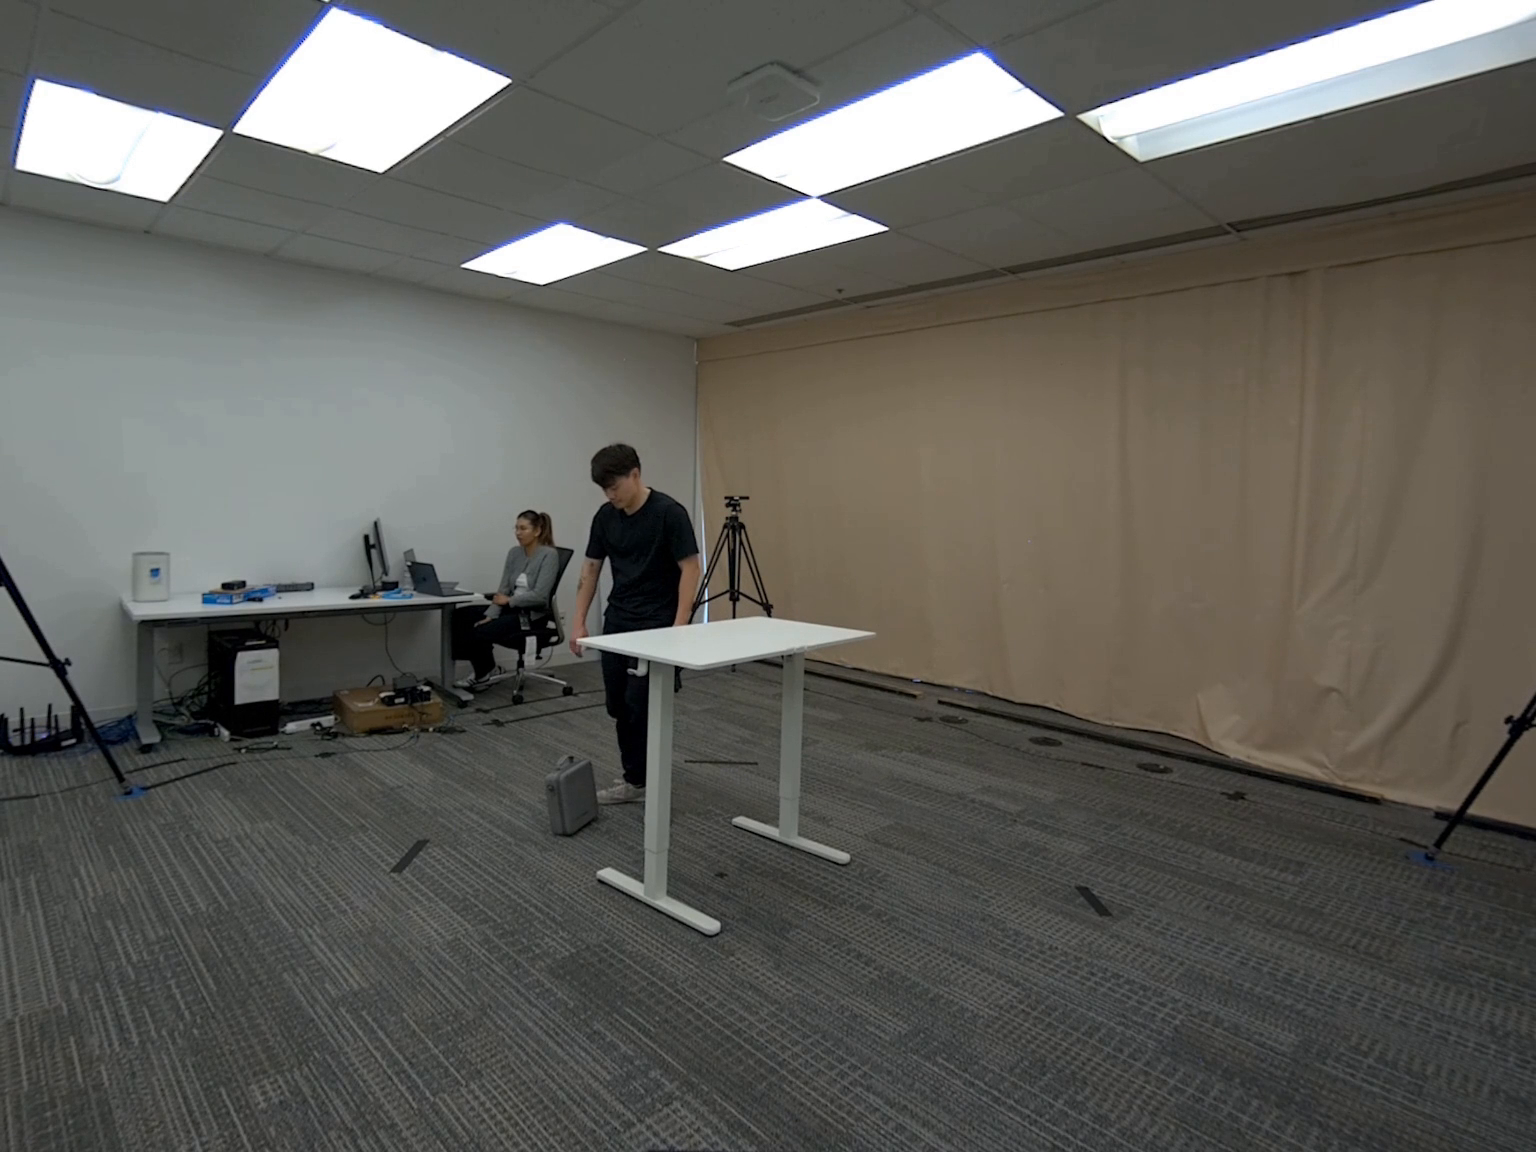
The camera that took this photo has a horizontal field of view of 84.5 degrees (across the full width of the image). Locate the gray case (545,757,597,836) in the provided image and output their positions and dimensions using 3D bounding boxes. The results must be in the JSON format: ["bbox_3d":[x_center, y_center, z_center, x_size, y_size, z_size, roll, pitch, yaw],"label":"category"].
[{"bbox_3d":[-0.825,0.914,3.528,0.105,0.261,0.253,-8,0,18],"label":"gray case"}]
